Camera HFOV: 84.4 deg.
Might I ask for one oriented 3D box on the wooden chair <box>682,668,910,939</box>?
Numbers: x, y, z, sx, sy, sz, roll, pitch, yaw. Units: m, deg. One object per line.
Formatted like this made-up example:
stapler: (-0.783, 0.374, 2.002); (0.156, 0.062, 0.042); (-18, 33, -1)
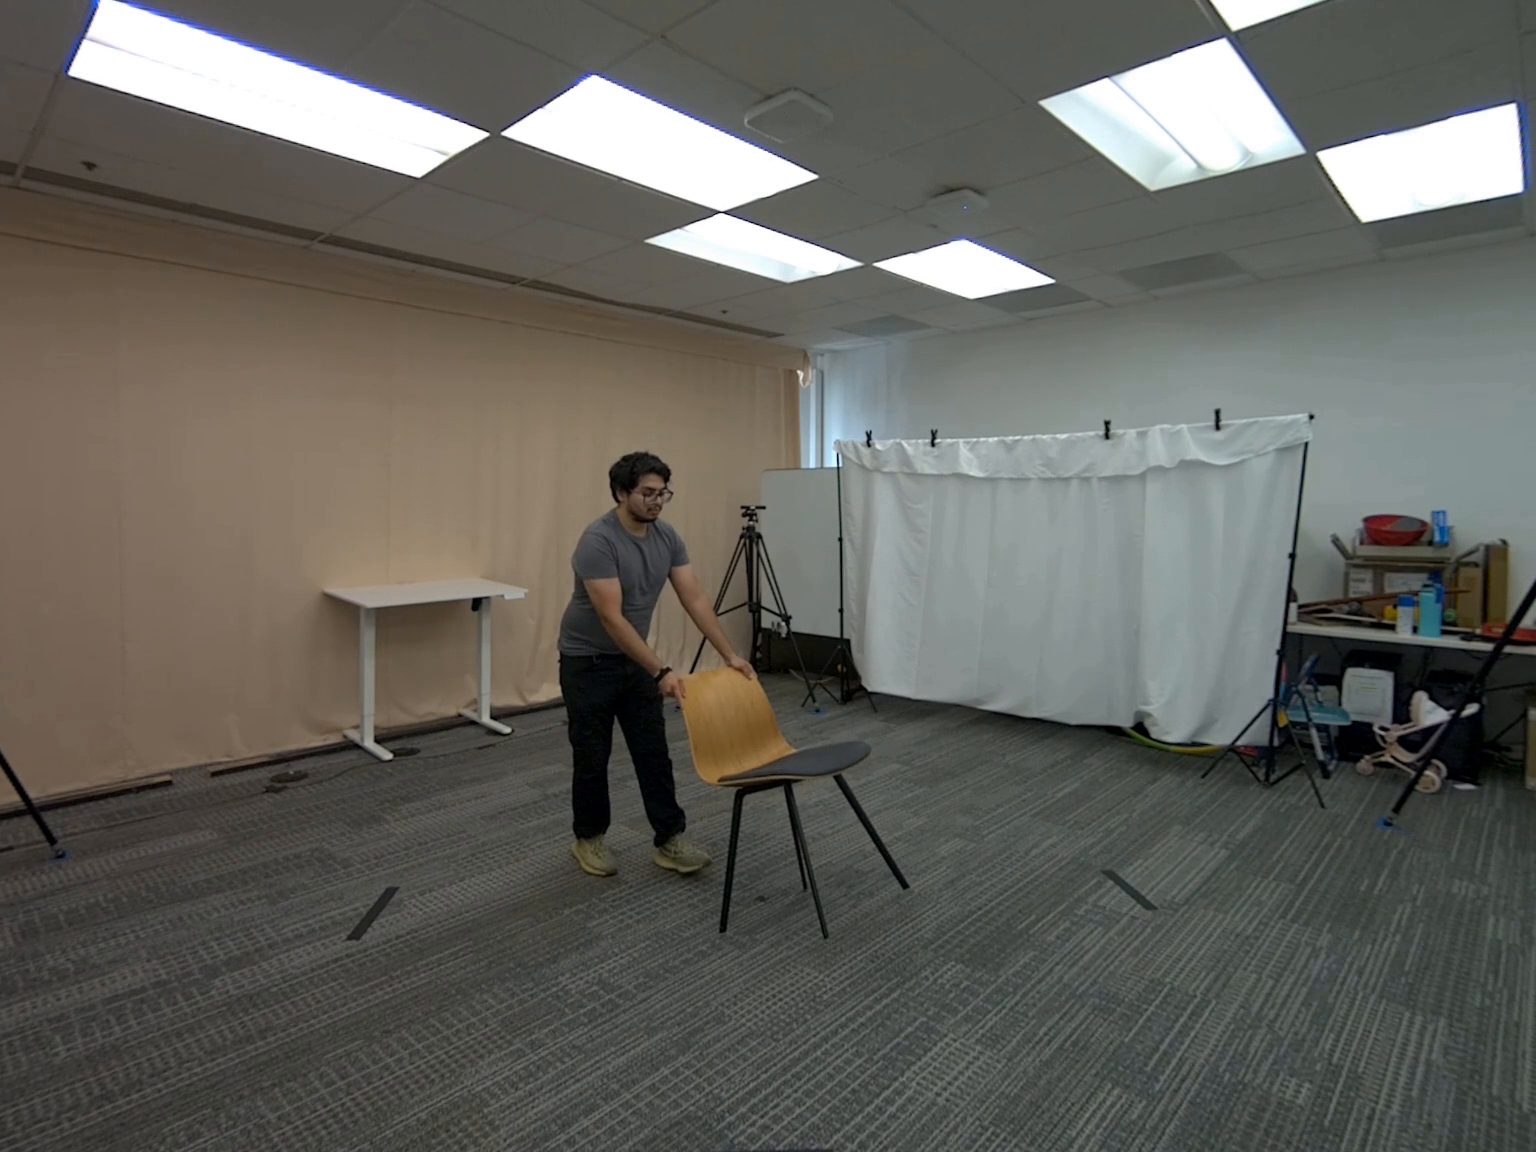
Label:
wooden chair: (0.063, 0.678, 2.810); (0.463, 0.887, 0.533); (-3, -18, -47)
